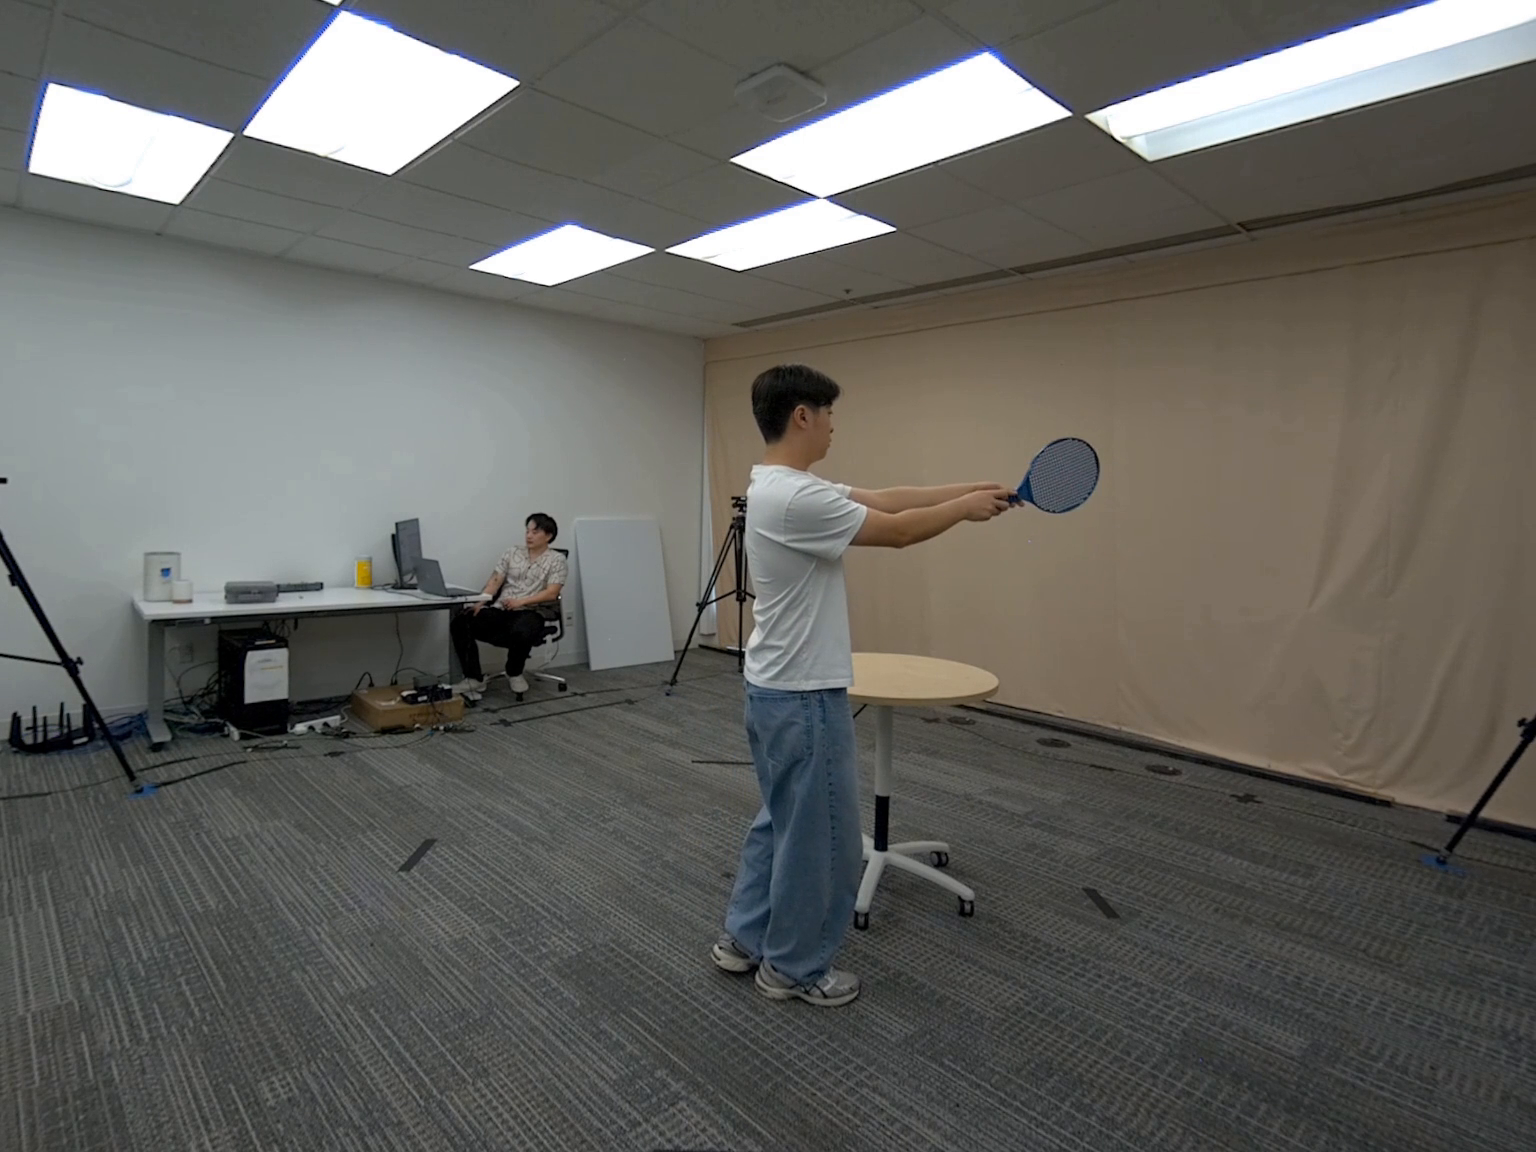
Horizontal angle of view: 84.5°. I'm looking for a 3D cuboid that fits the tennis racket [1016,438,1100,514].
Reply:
[{"bbox_3d":[0.787,-0.260,2.403,0.428,0.212,0.032,-19,8,-21],"label":"tennis racket"}]
